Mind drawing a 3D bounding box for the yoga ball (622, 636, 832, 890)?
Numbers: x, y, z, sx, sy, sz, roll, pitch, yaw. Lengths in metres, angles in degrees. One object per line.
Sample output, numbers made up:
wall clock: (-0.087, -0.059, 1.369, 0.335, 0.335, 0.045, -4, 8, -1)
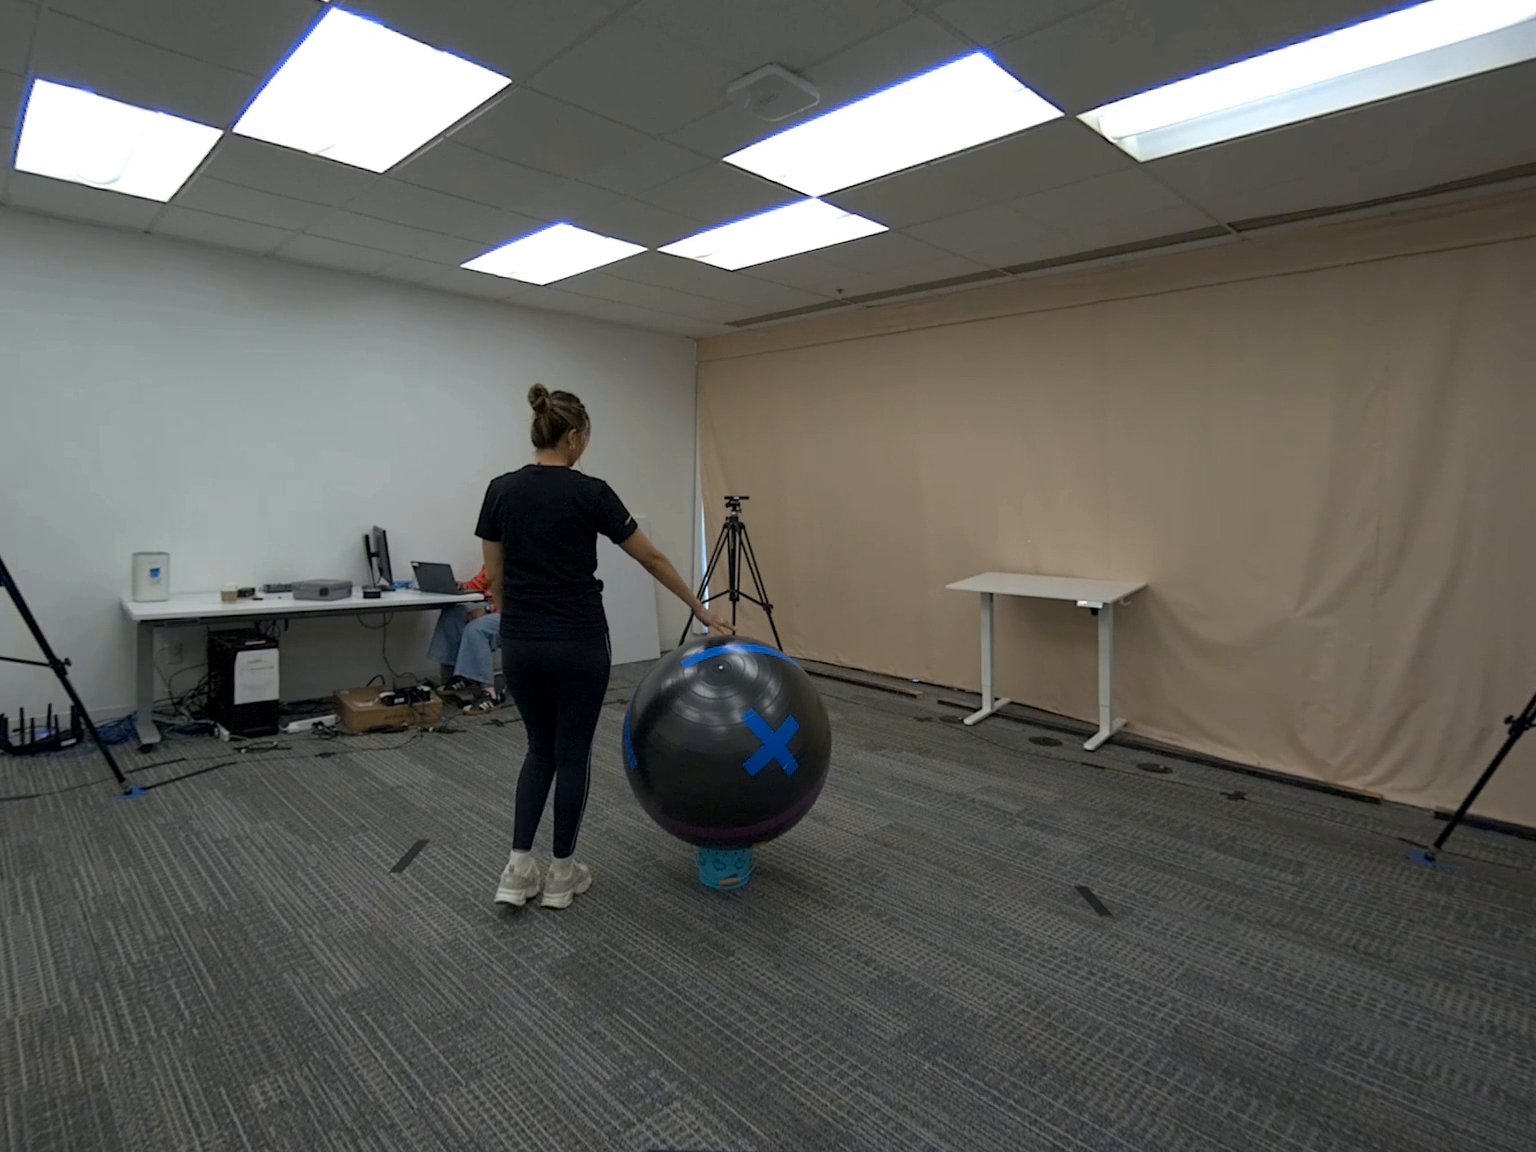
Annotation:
yoga ball: (-0.154, 0.599, 3.046, 0.757, 0.756, 0.761, 1, 4, -1)
